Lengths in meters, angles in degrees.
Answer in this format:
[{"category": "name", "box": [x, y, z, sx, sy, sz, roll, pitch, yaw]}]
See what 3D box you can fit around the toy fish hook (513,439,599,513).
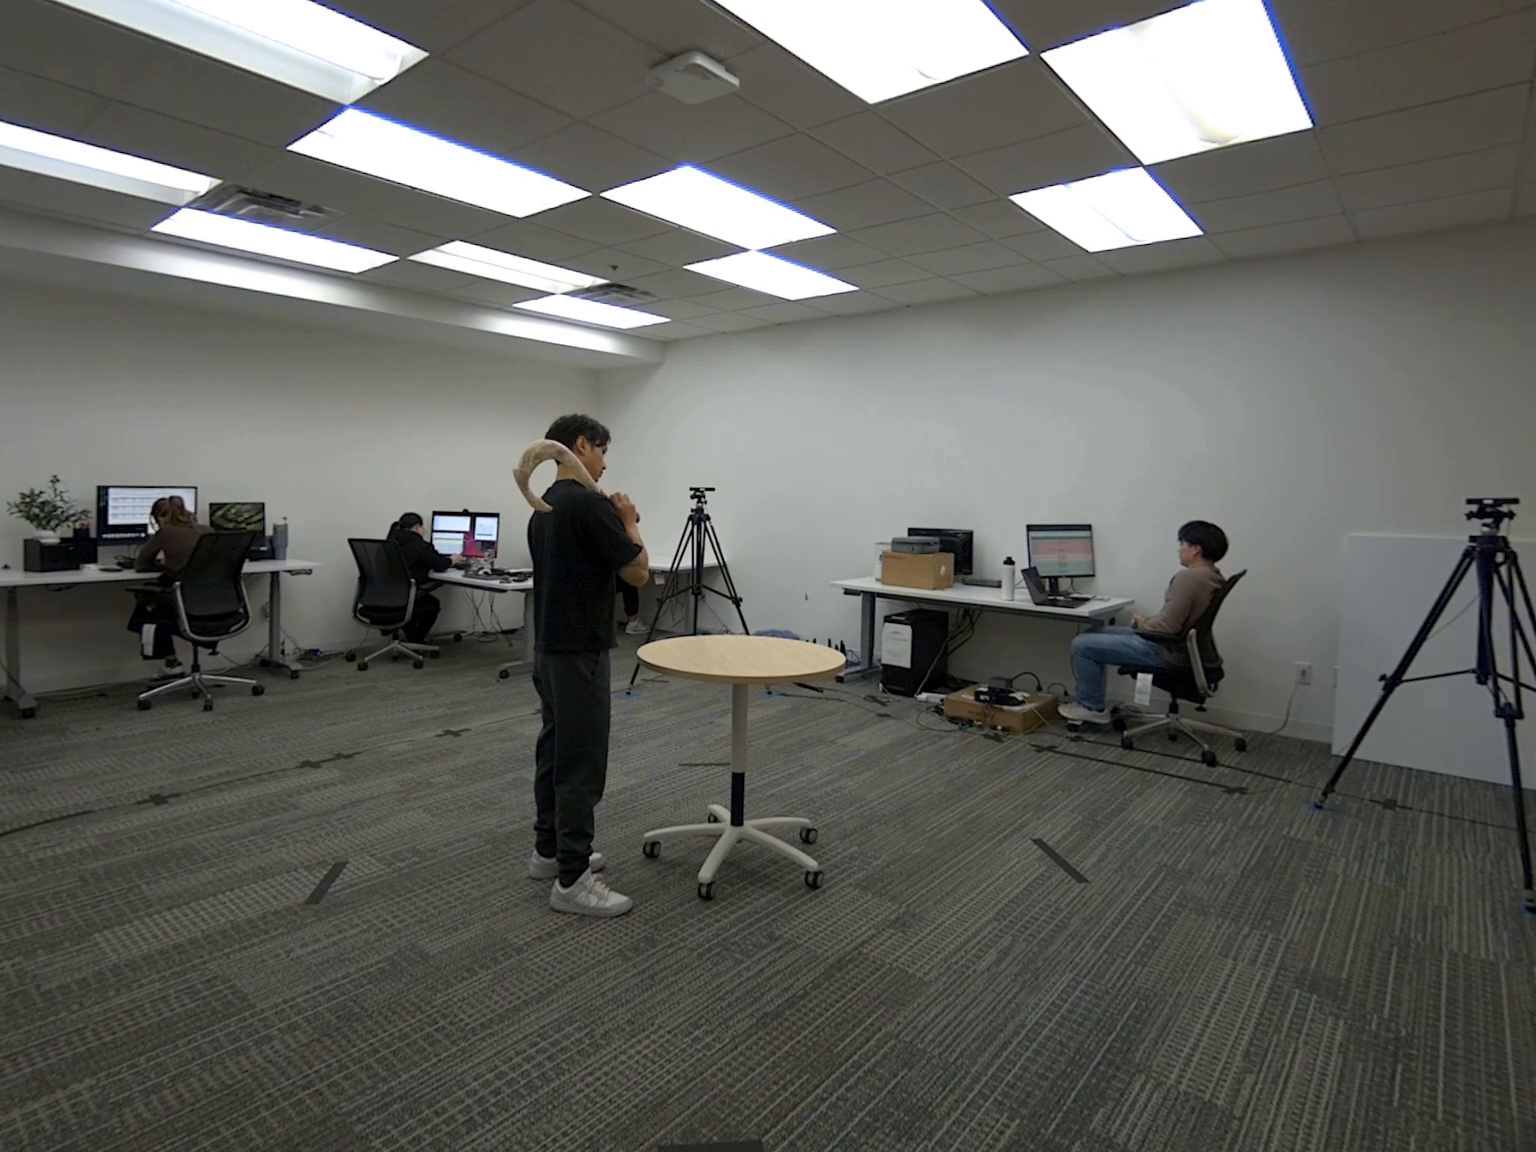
[{"category": "toy fish hook", "box": [-0.658, -0.272, 2.875, 0.486, 0.225, 0.050, 37, -6, -36]}]
